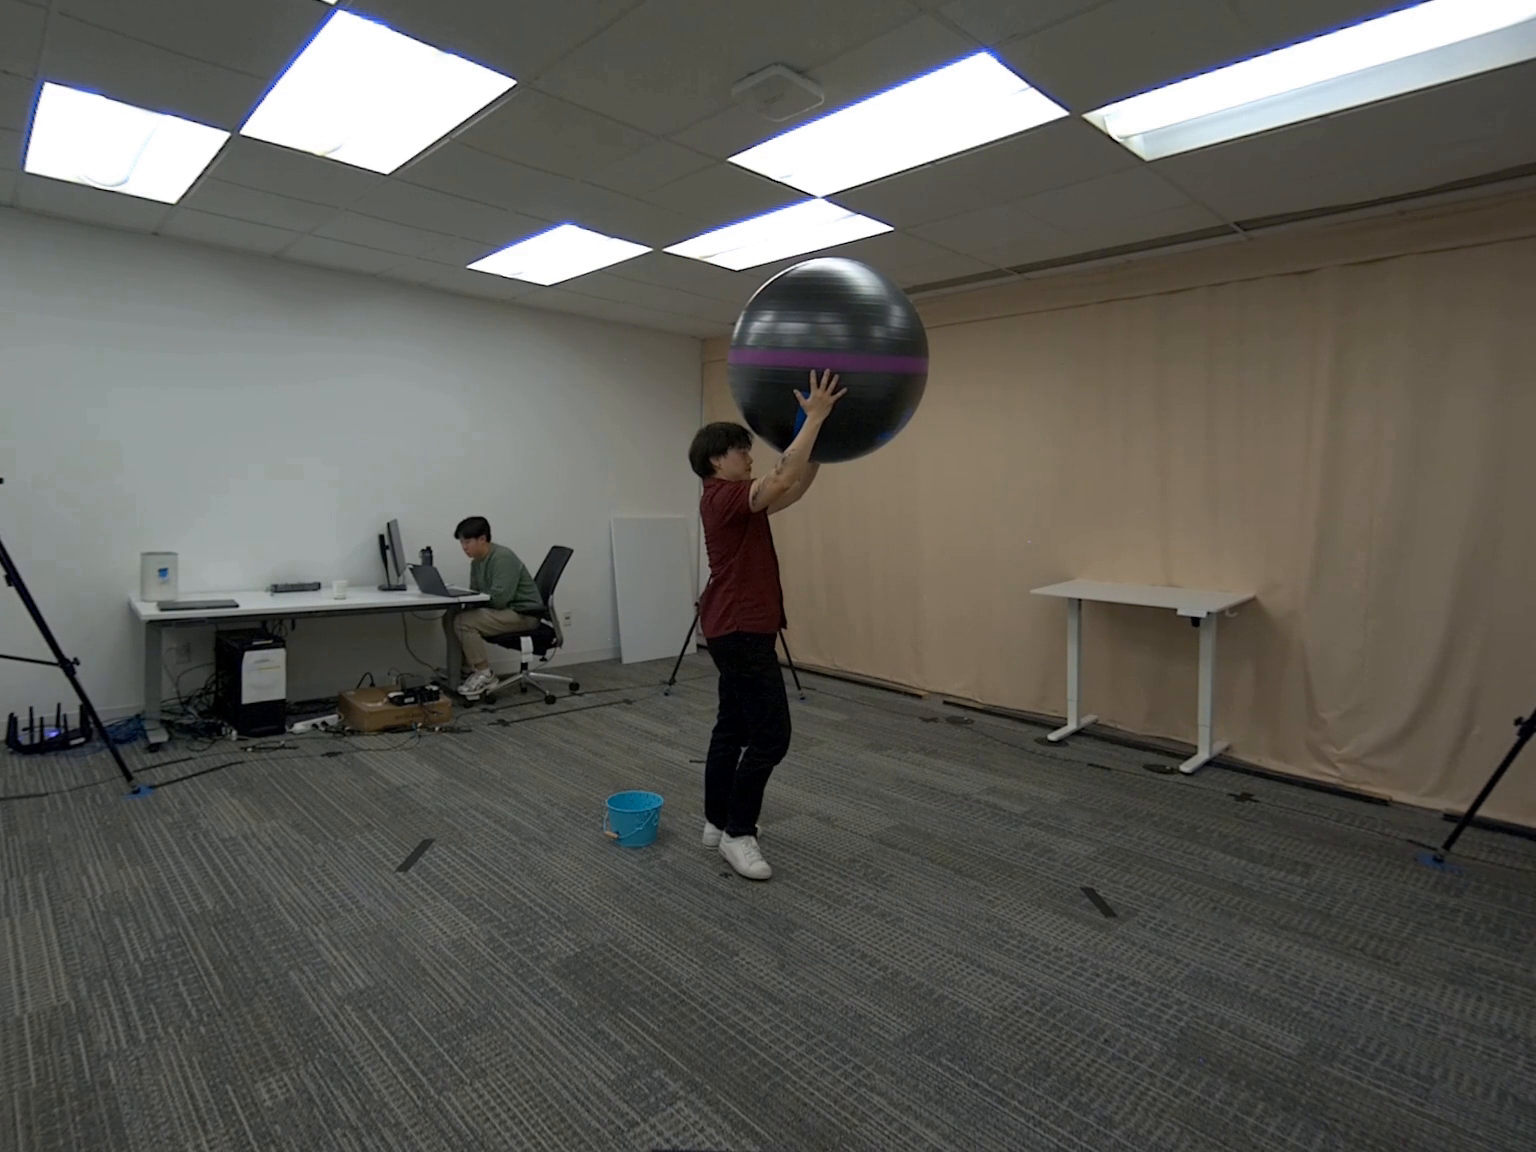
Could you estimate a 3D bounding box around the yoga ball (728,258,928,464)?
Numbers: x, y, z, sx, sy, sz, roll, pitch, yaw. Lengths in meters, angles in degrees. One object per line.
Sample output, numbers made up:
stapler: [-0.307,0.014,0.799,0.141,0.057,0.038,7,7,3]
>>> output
yoga ball: [0.222,-0.810,3.231,0.757,0.756,0.761,1,4,-1]
